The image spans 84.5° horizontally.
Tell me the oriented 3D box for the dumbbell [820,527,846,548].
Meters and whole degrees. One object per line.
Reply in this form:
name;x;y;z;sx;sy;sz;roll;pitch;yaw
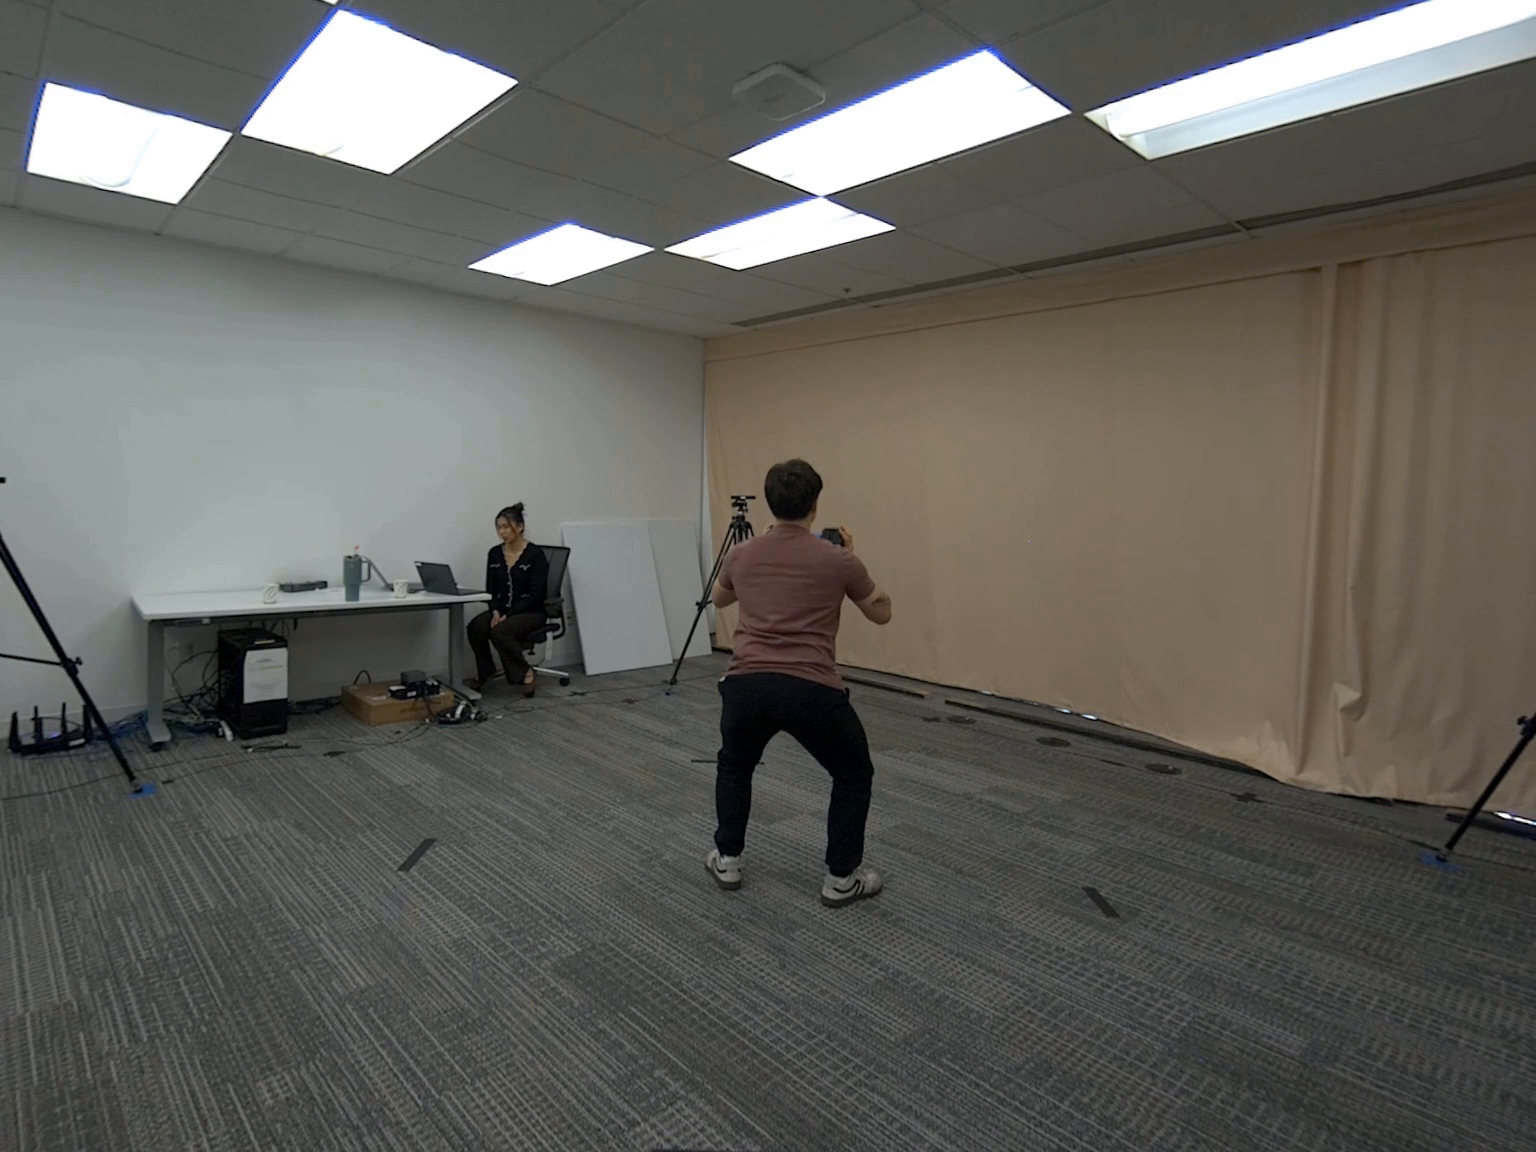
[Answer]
dumbbell;0.138;-0.117;3.153;0.298;0.108;0.121;-1;5;19
